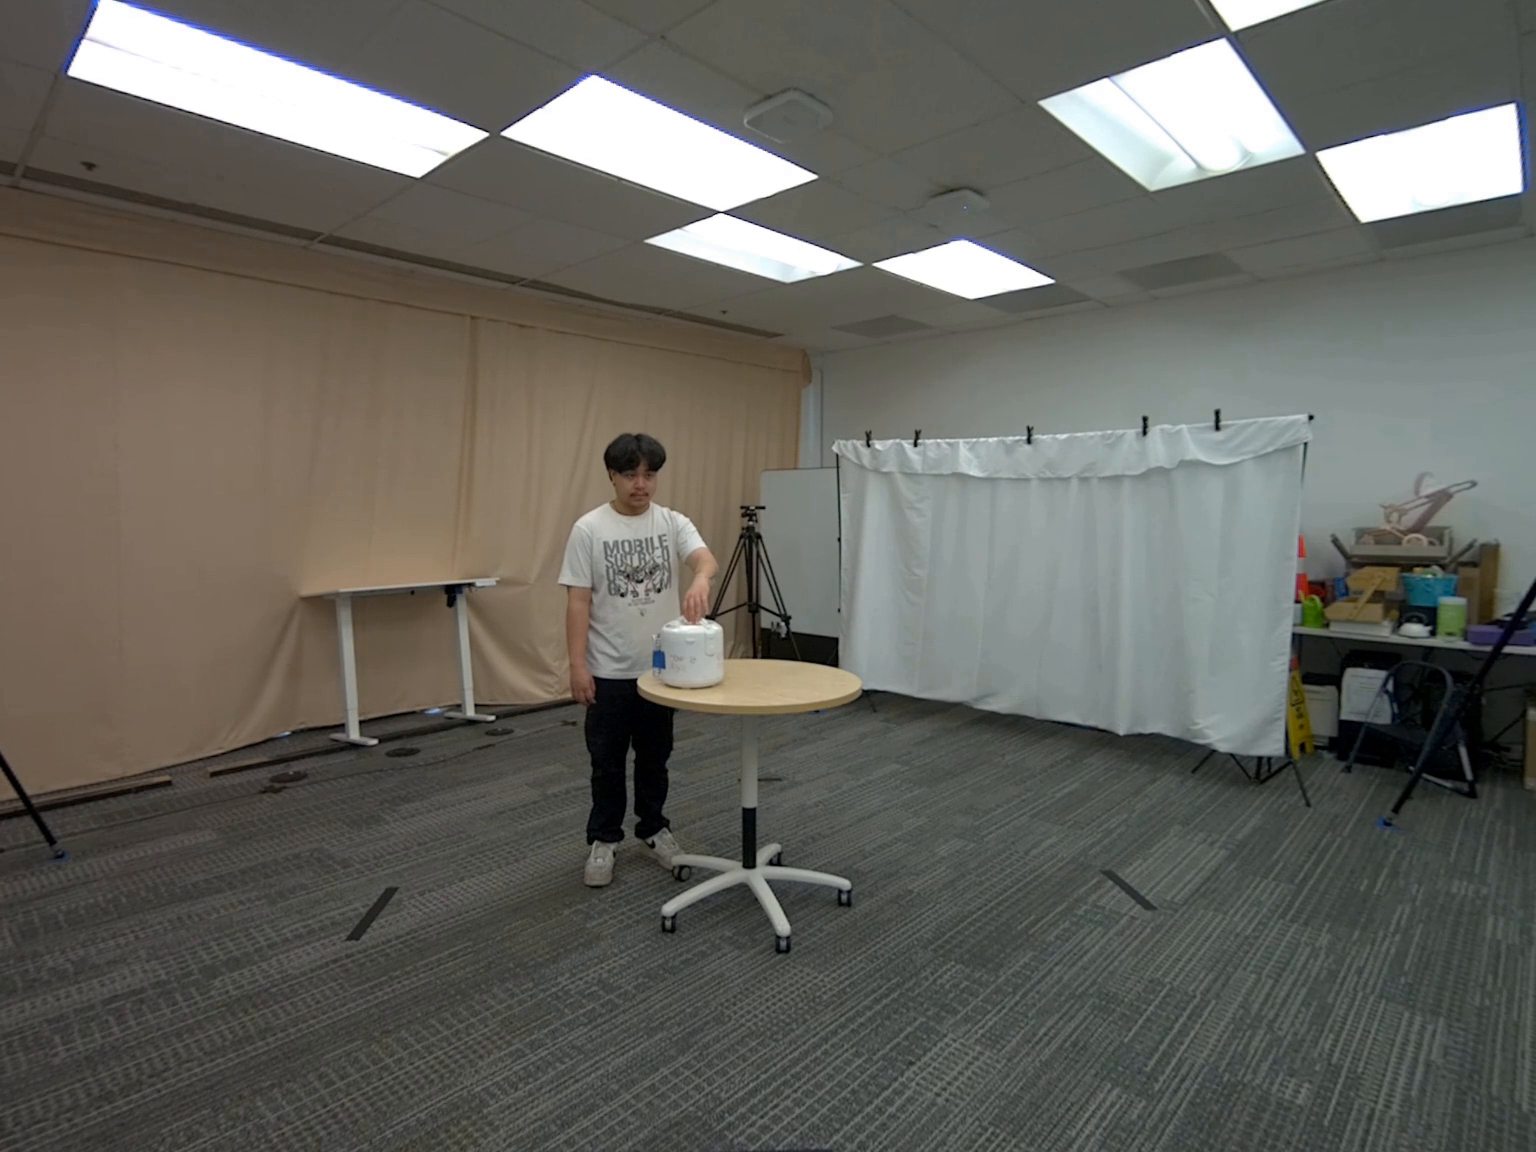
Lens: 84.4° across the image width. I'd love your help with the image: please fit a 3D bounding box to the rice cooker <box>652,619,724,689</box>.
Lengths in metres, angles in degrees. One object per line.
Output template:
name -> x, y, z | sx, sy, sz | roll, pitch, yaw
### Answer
rice cooker -> -0.250, 0.244, 2.815 | 0.211, 0.232, 0.228 | -4, 6, -41
